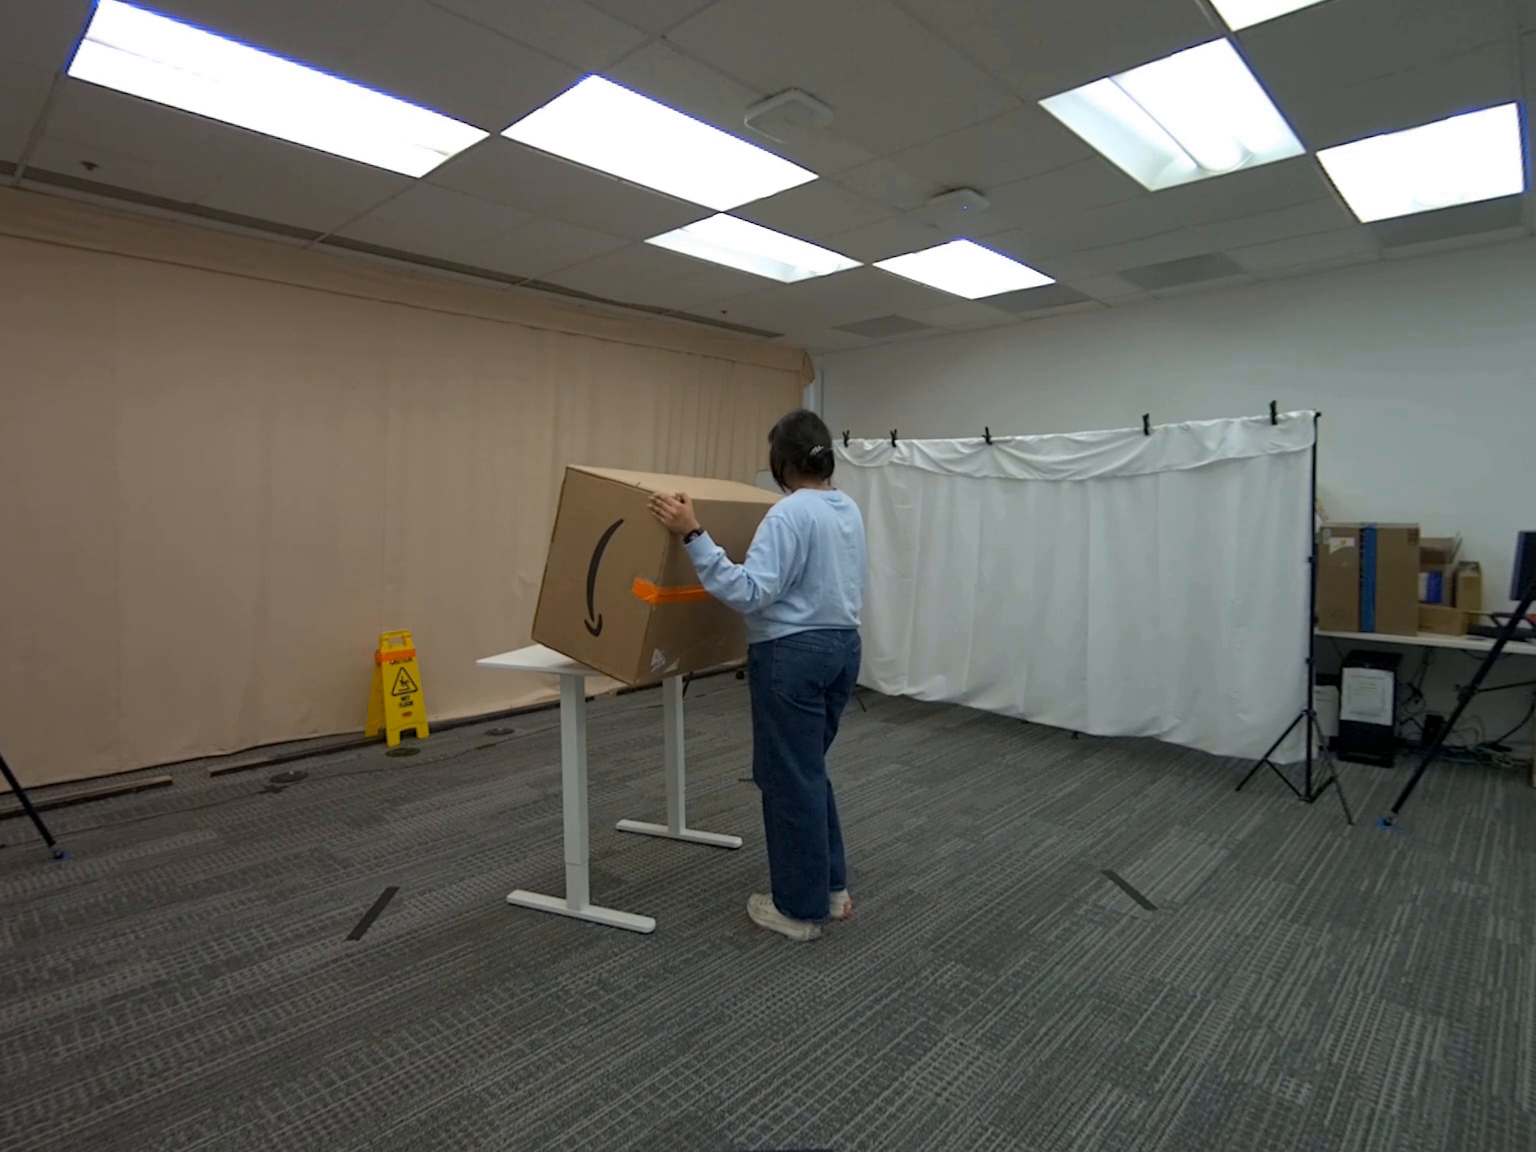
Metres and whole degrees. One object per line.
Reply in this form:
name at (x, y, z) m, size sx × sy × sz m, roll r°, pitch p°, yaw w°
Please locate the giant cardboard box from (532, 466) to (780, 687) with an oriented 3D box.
giant cardboard box at (-0.272, -0.030, 2.961) m, size 0.439 × 0.575 × 0.998 m, roll 20°, pitch 12°, yaw 27°
